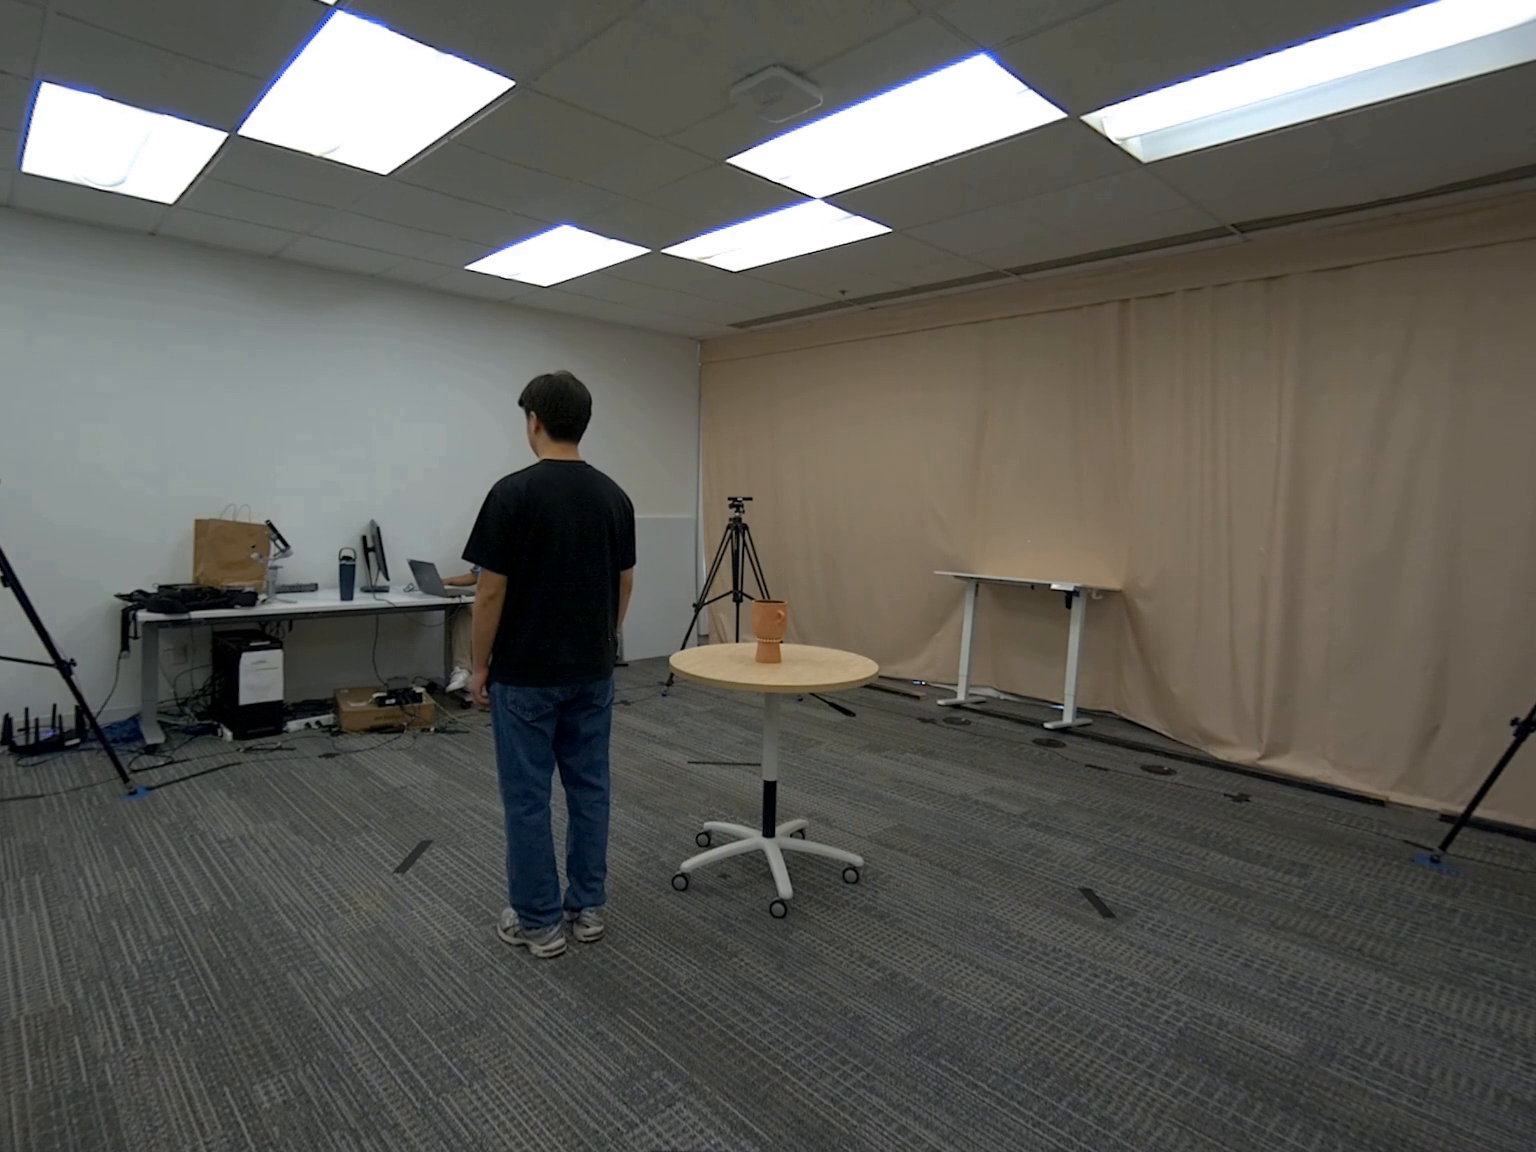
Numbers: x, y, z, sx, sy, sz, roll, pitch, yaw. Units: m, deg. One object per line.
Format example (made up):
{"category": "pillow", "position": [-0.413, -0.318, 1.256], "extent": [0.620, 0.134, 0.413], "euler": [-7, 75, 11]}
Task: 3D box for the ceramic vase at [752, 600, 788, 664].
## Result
{"category": "ceramic vase", "position": [-0.005, 0.208, 3.095], "extent": [0.136, 0.219, 0.158], "euler": [2, 3, 9]}
